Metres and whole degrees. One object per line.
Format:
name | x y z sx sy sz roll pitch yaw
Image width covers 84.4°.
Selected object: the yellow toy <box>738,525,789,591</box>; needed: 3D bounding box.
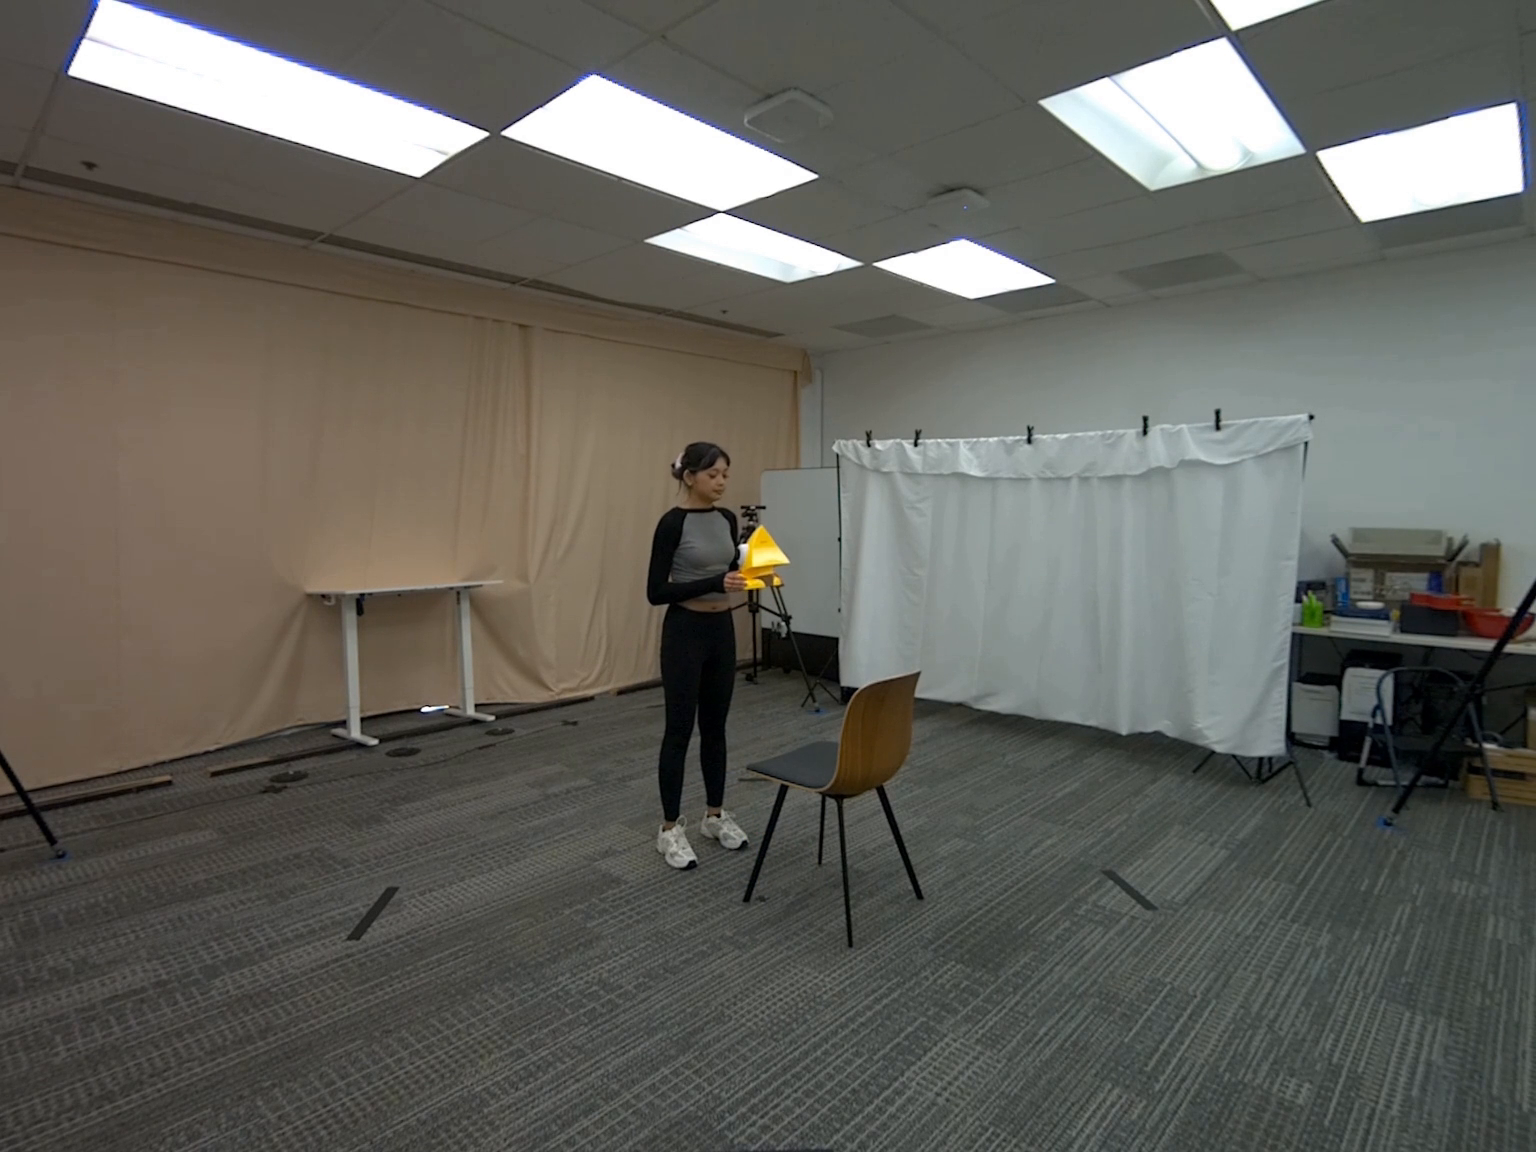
yellow toy | -0.054 -0.071 3.181 0.199 0.231 0.198 -5 0 44
